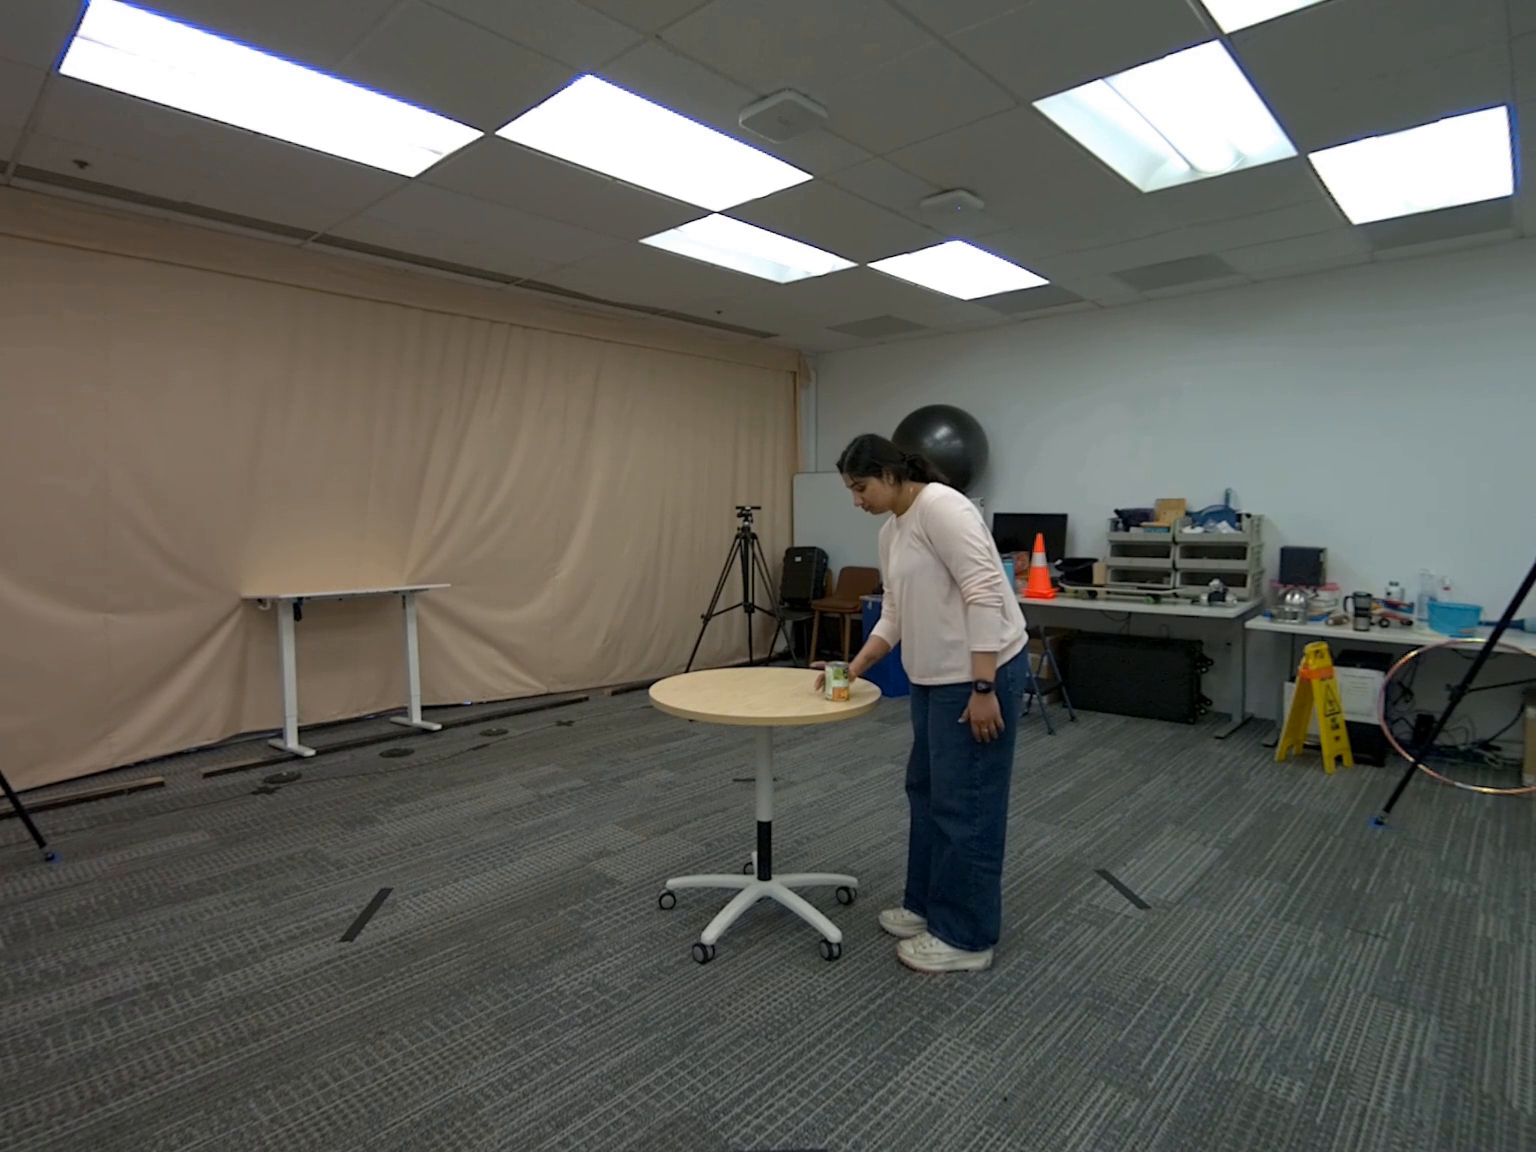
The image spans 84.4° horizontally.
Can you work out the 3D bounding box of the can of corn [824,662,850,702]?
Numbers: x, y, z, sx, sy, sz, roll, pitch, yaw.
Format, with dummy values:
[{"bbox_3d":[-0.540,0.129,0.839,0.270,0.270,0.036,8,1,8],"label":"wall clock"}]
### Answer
[{"bbox_3d":[0.214,0.331,2.649,0.074,0.111,0.074,1,3,-2],"label":"can of corn"}]
